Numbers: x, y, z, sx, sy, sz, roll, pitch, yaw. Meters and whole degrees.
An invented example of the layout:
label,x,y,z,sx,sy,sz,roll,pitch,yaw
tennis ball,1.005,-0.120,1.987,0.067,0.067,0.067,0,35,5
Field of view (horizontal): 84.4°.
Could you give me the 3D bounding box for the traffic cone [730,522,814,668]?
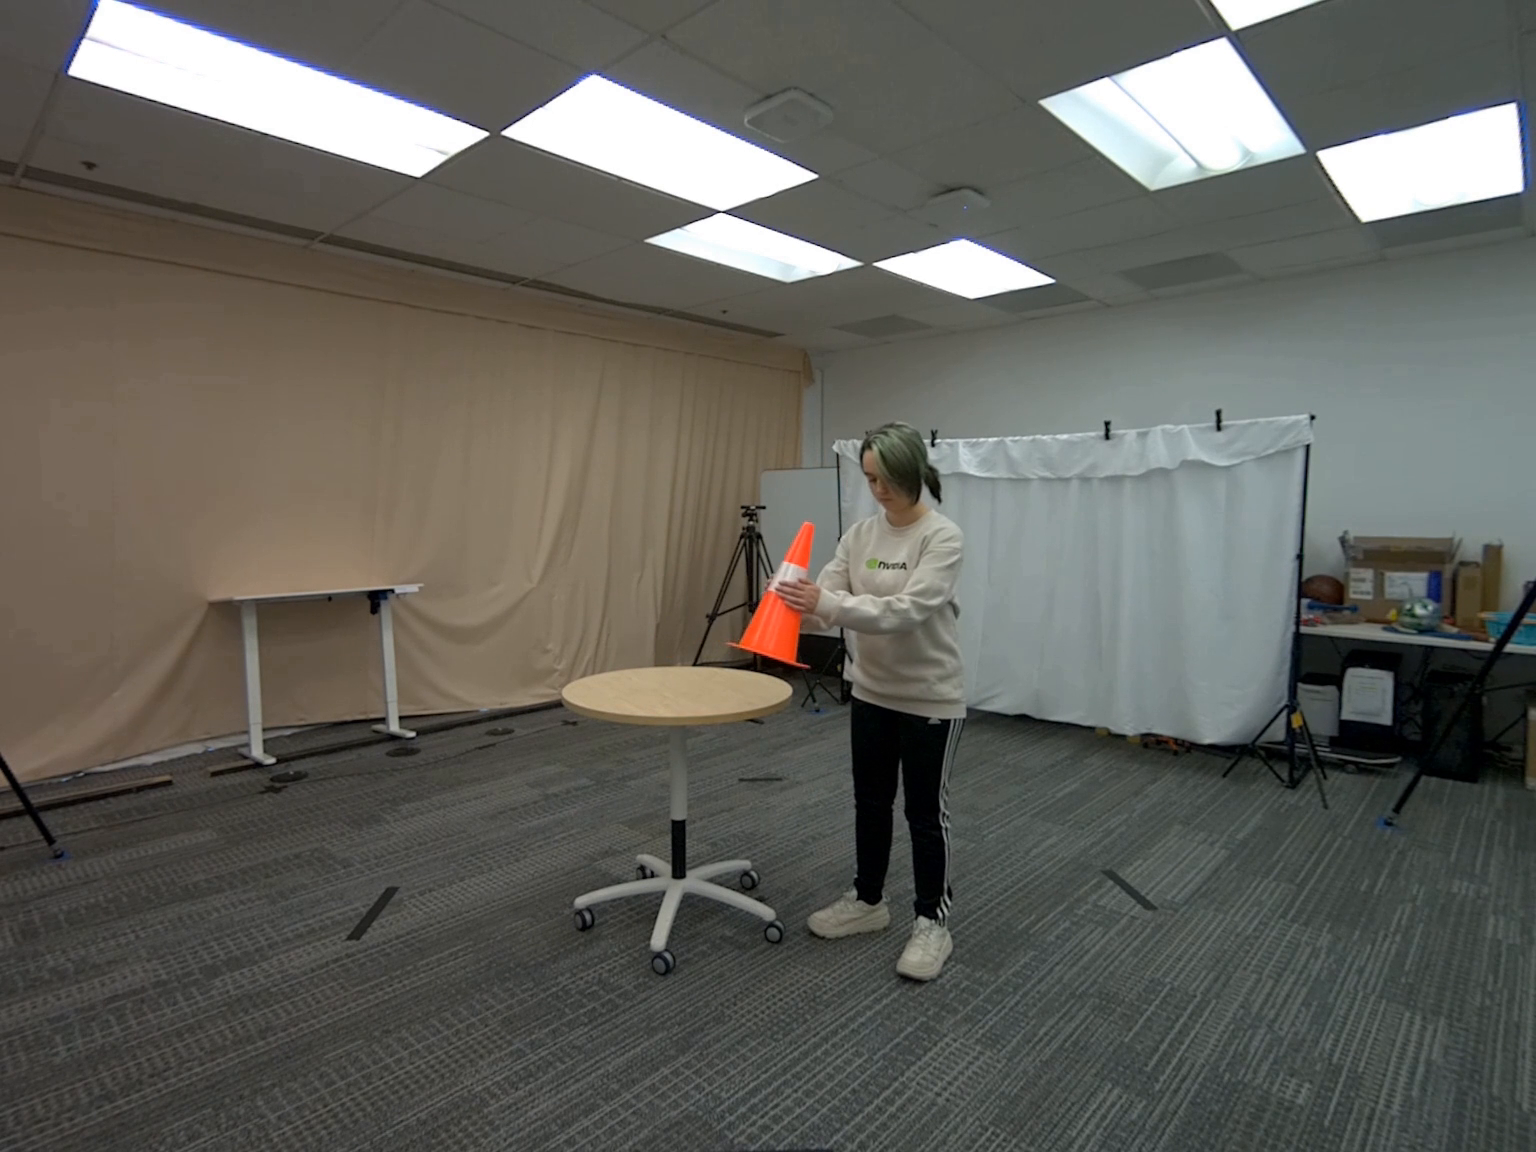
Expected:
label,x,y,z,sx,sy,sz,roll,pitch,yaw
traffic cone,0.056,0.042,2.296,0.204,0.384,0.203,17,-7,-3
